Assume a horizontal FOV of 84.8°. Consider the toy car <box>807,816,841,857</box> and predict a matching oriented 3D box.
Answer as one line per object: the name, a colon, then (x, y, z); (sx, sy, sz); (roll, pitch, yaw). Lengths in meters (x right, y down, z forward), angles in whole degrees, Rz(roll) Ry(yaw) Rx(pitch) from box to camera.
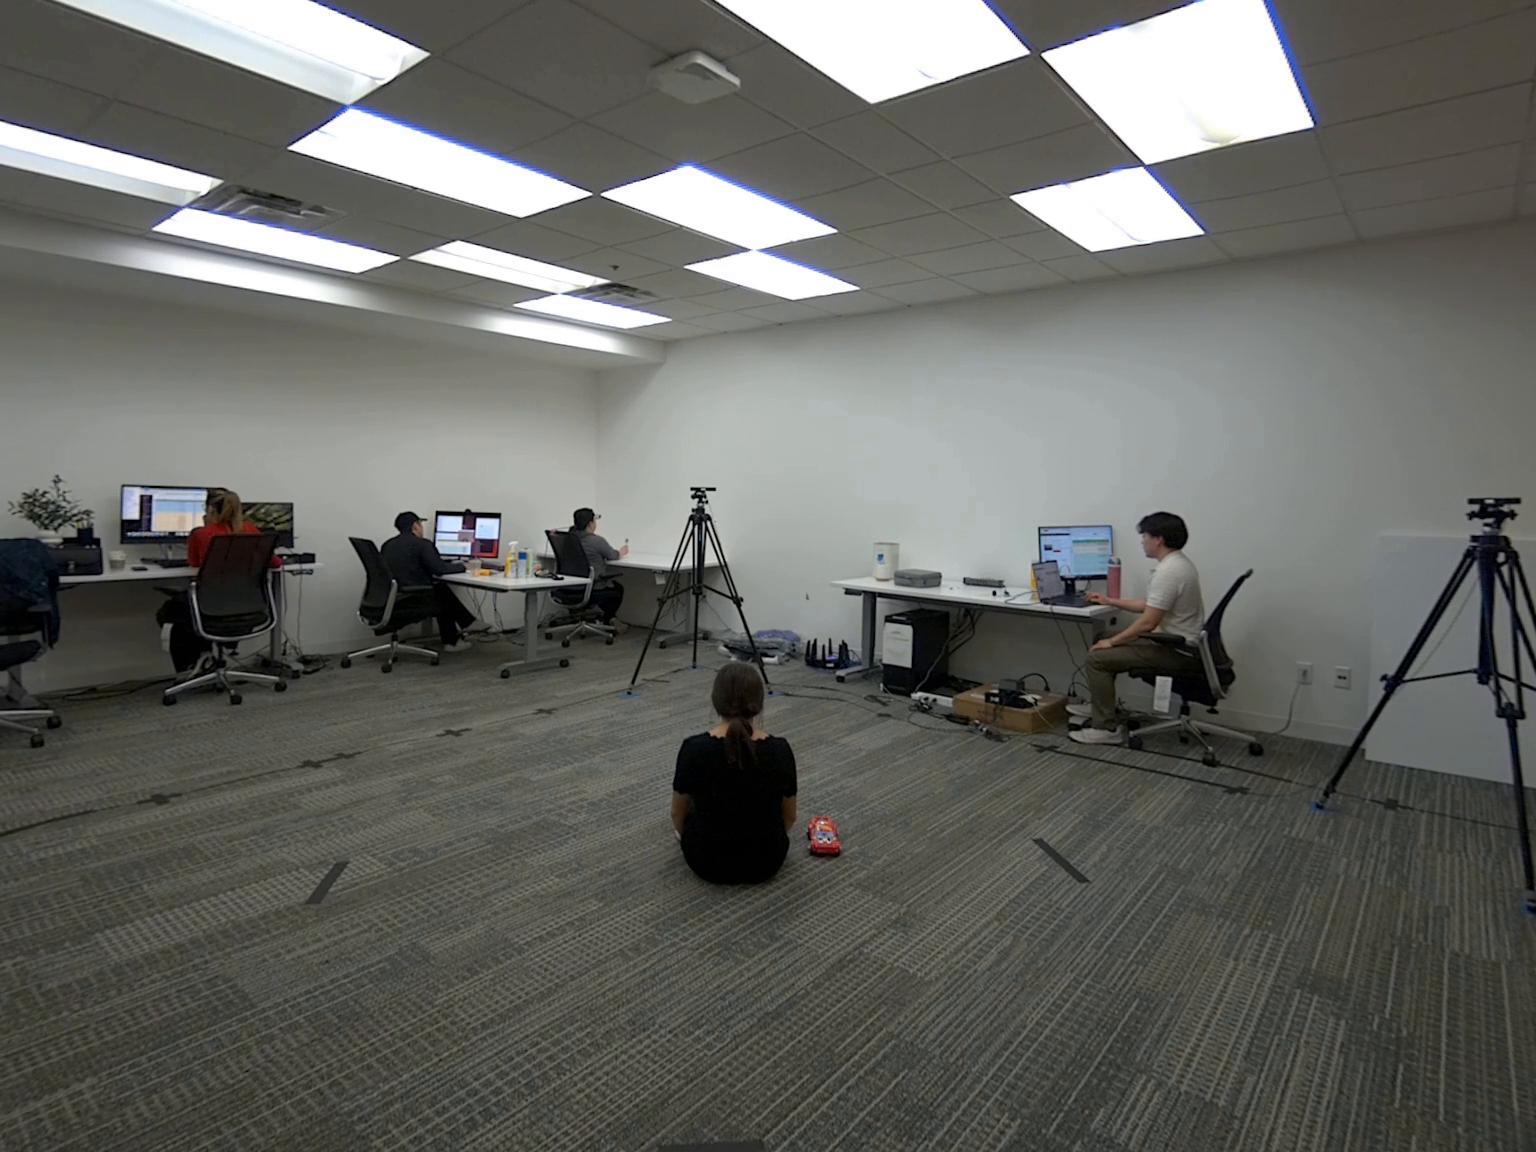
toy car: (0.207, 1.022, 3.351); (0.130, 0.082, 0.258); (0, 17, 1)
